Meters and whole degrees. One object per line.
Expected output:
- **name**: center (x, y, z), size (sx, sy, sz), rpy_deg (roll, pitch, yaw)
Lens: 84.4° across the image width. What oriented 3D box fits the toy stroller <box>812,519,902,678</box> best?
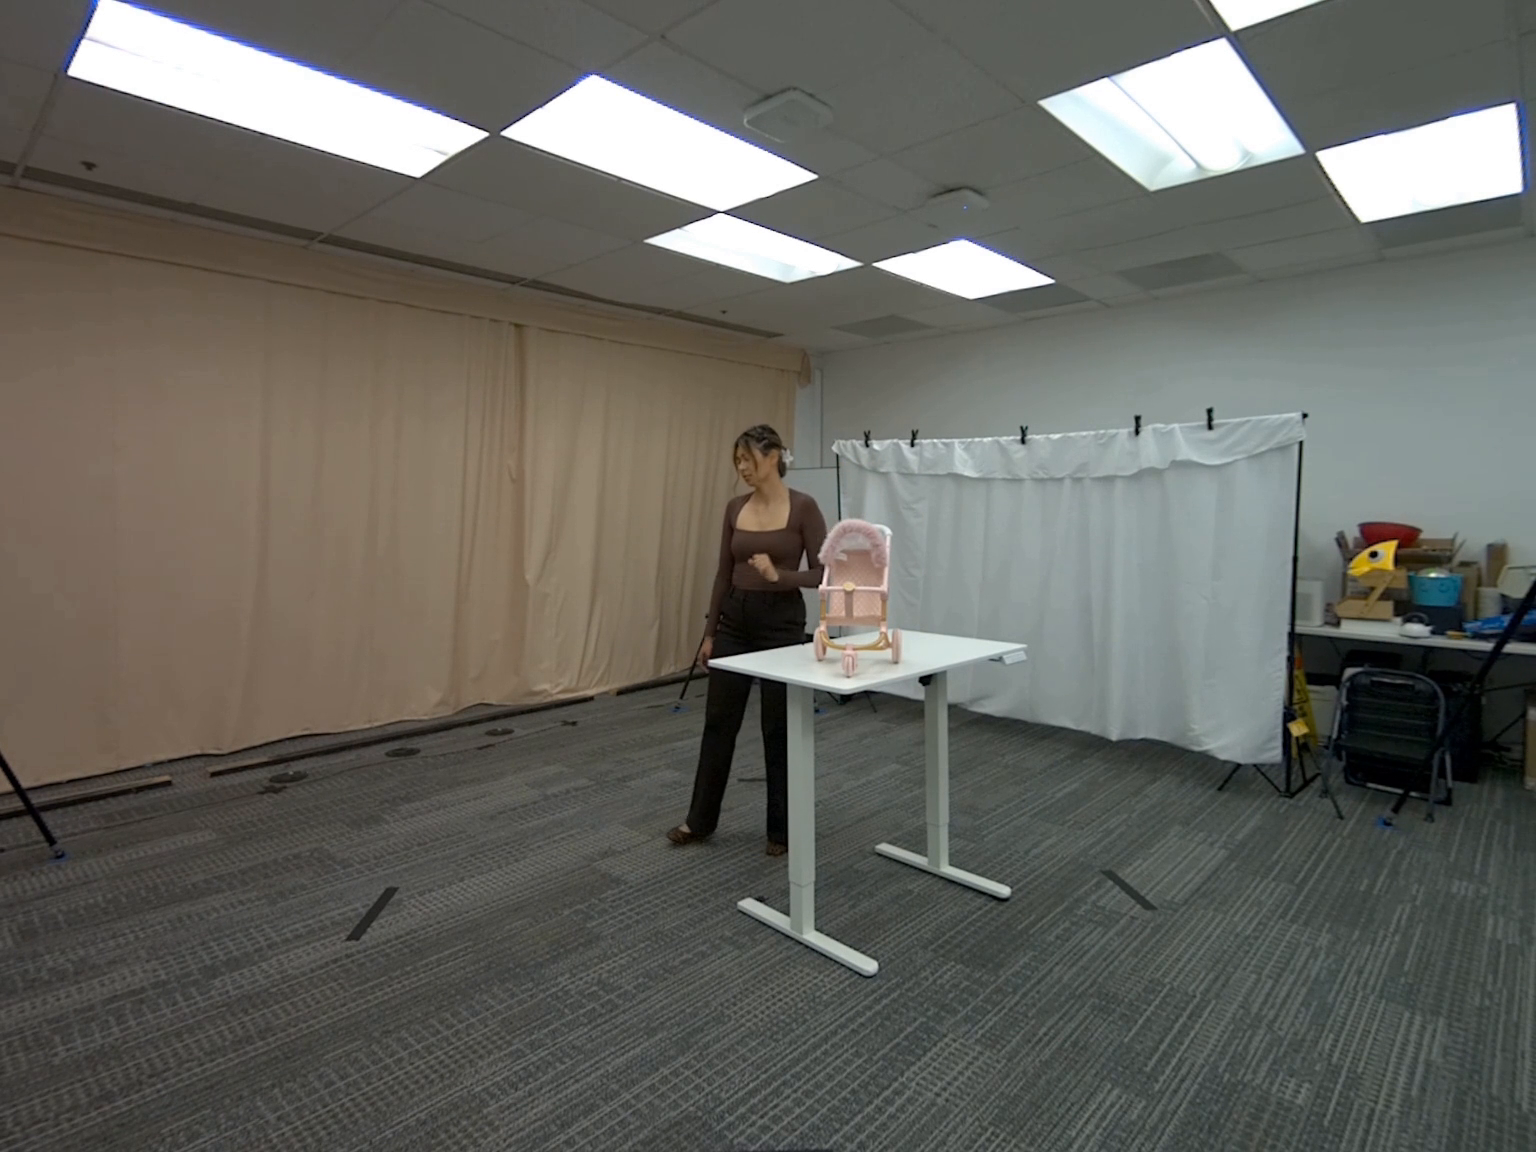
- **toy stroller**: center (0.281, 0.063, 2.678), size (0.287, 0.538, 0.333), rpy_deg (0, -11, 18)
